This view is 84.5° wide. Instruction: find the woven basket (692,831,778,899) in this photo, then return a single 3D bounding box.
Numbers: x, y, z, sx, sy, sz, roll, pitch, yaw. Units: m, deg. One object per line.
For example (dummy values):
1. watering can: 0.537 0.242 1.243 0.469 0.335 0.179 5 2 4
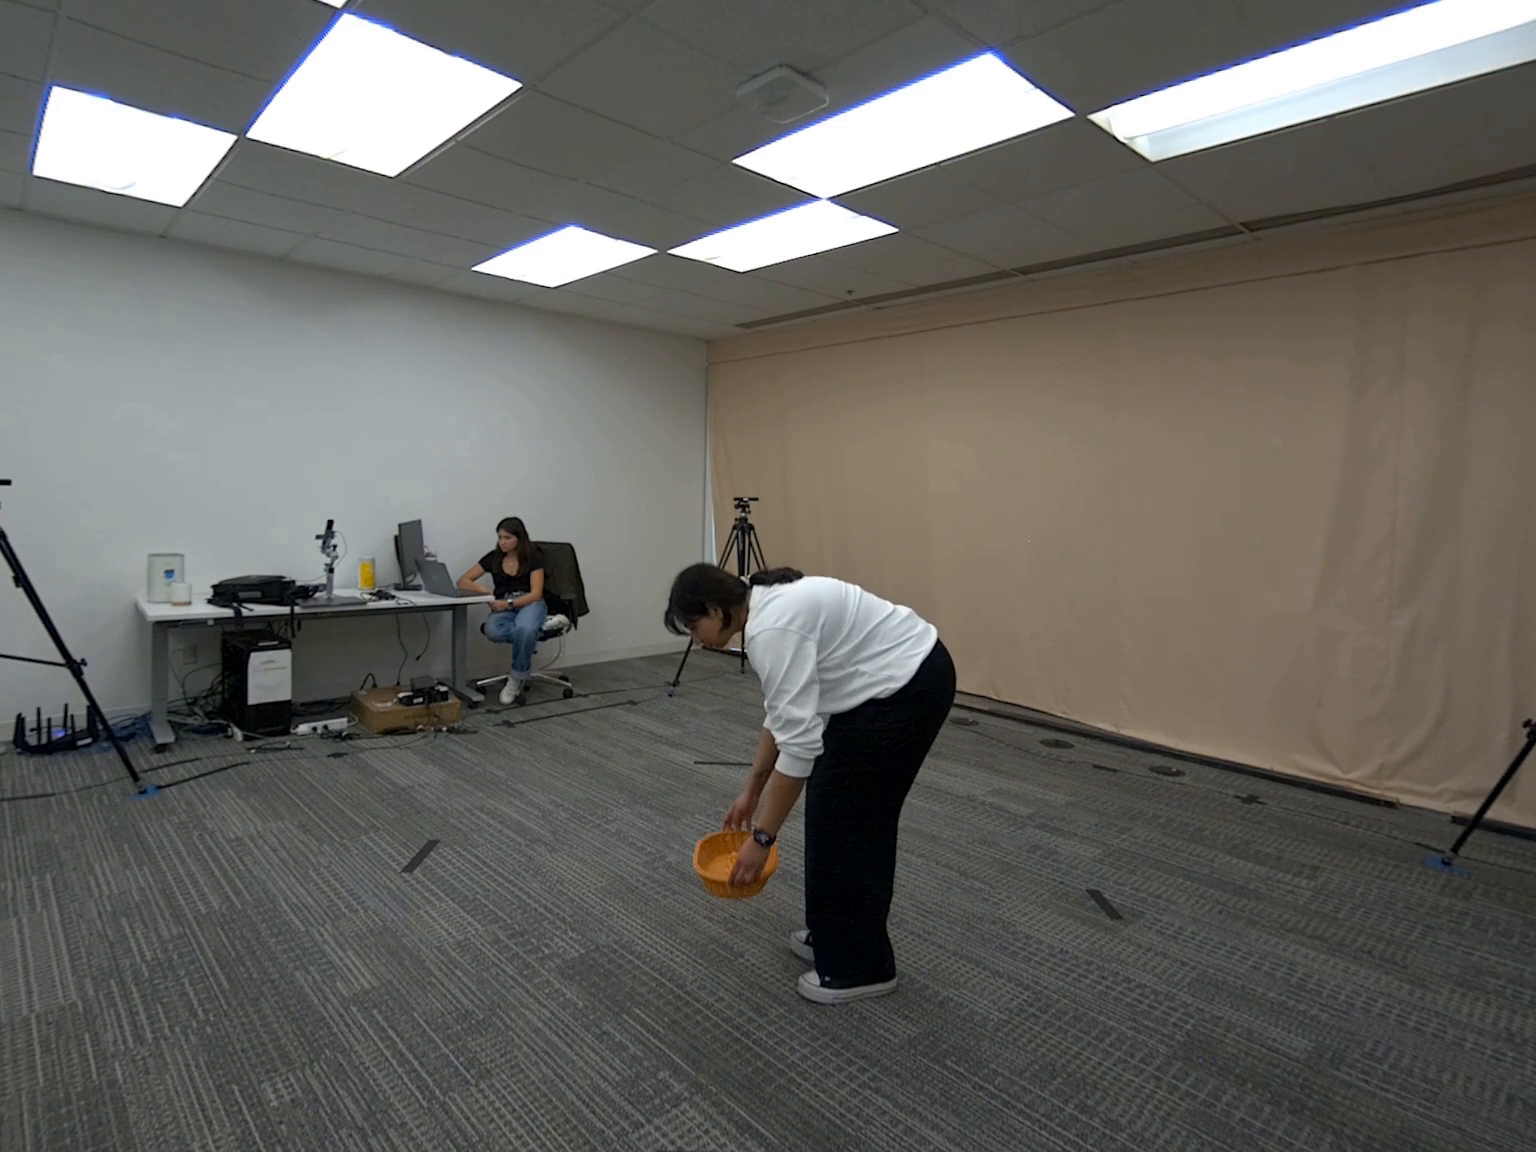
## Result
1. woven basket: -0.090 0.850 2.459 0.254 0.073 0.349 1 5 7
